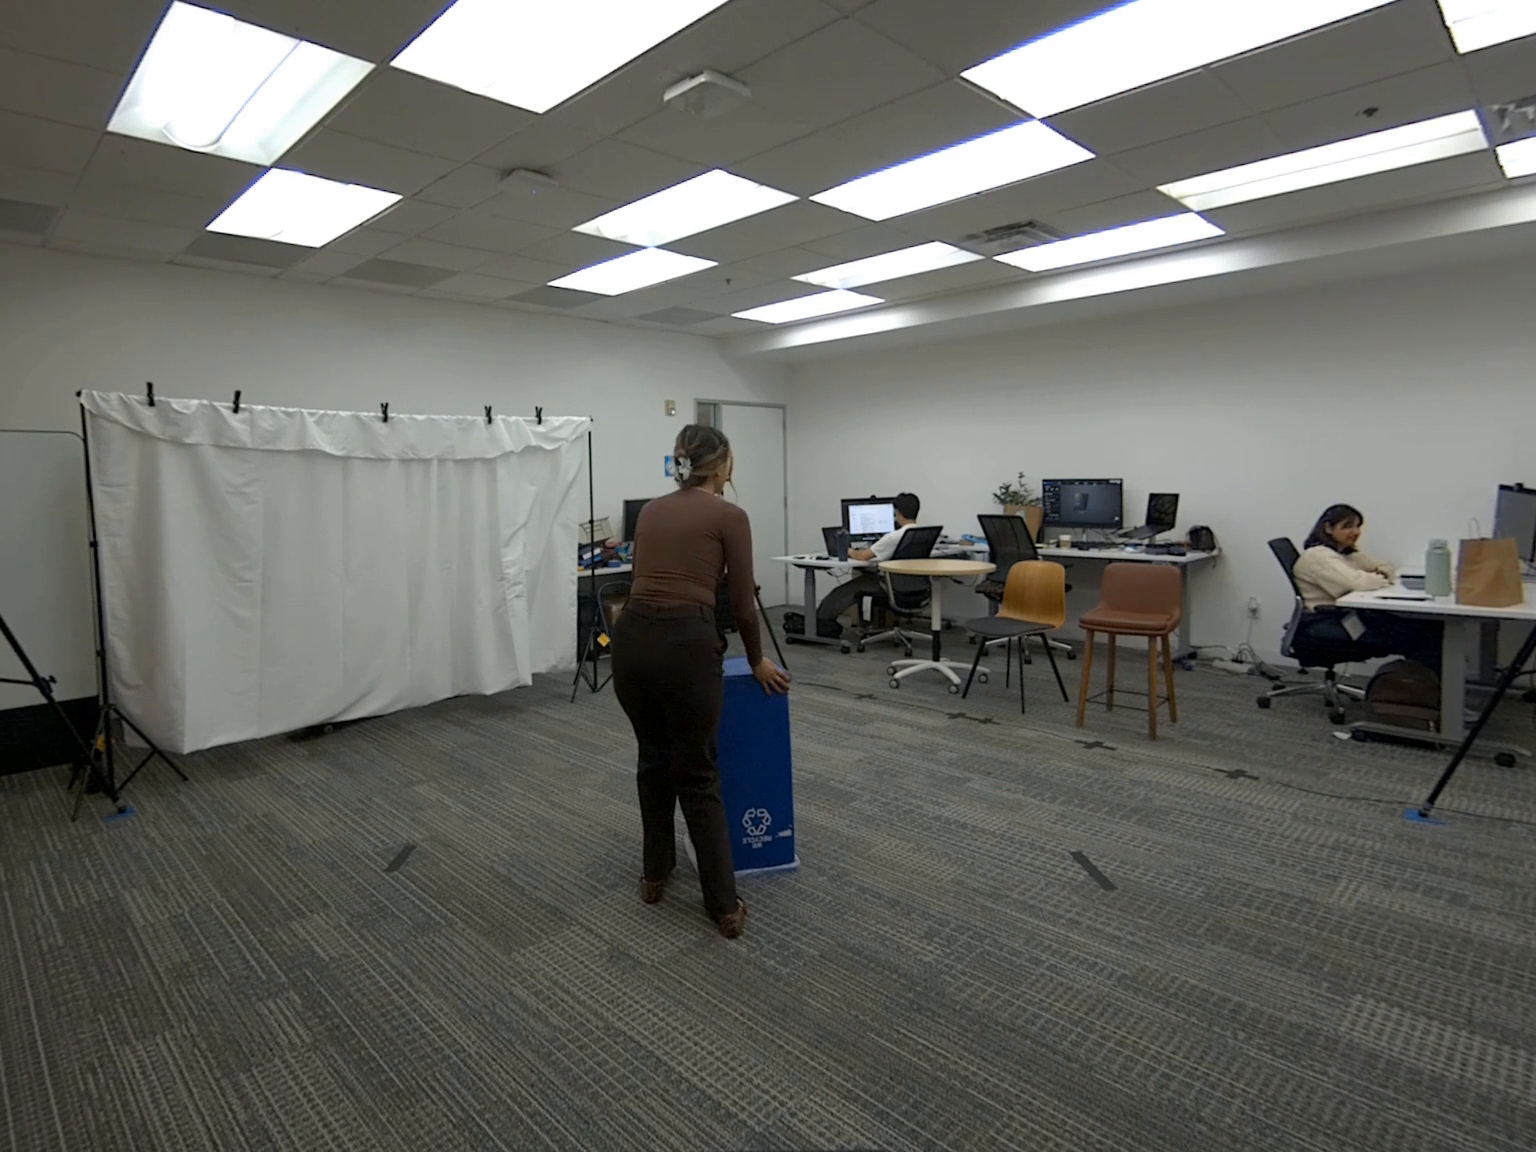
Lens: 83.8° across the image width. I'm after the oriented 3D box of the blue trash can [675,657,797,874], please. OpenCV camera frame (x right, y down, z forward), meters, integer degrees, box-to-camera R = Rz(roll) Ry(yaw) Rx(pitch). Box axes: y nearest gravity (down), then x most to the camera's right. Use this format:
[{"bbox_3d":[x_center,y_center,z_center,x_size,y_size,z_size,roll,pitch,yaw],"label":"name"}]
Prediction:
[{"bbox_3d":[-0.113,0.682,3.158,0.369,0.711,0.384,-3,4,-15],"label":"blue trash can"}]
